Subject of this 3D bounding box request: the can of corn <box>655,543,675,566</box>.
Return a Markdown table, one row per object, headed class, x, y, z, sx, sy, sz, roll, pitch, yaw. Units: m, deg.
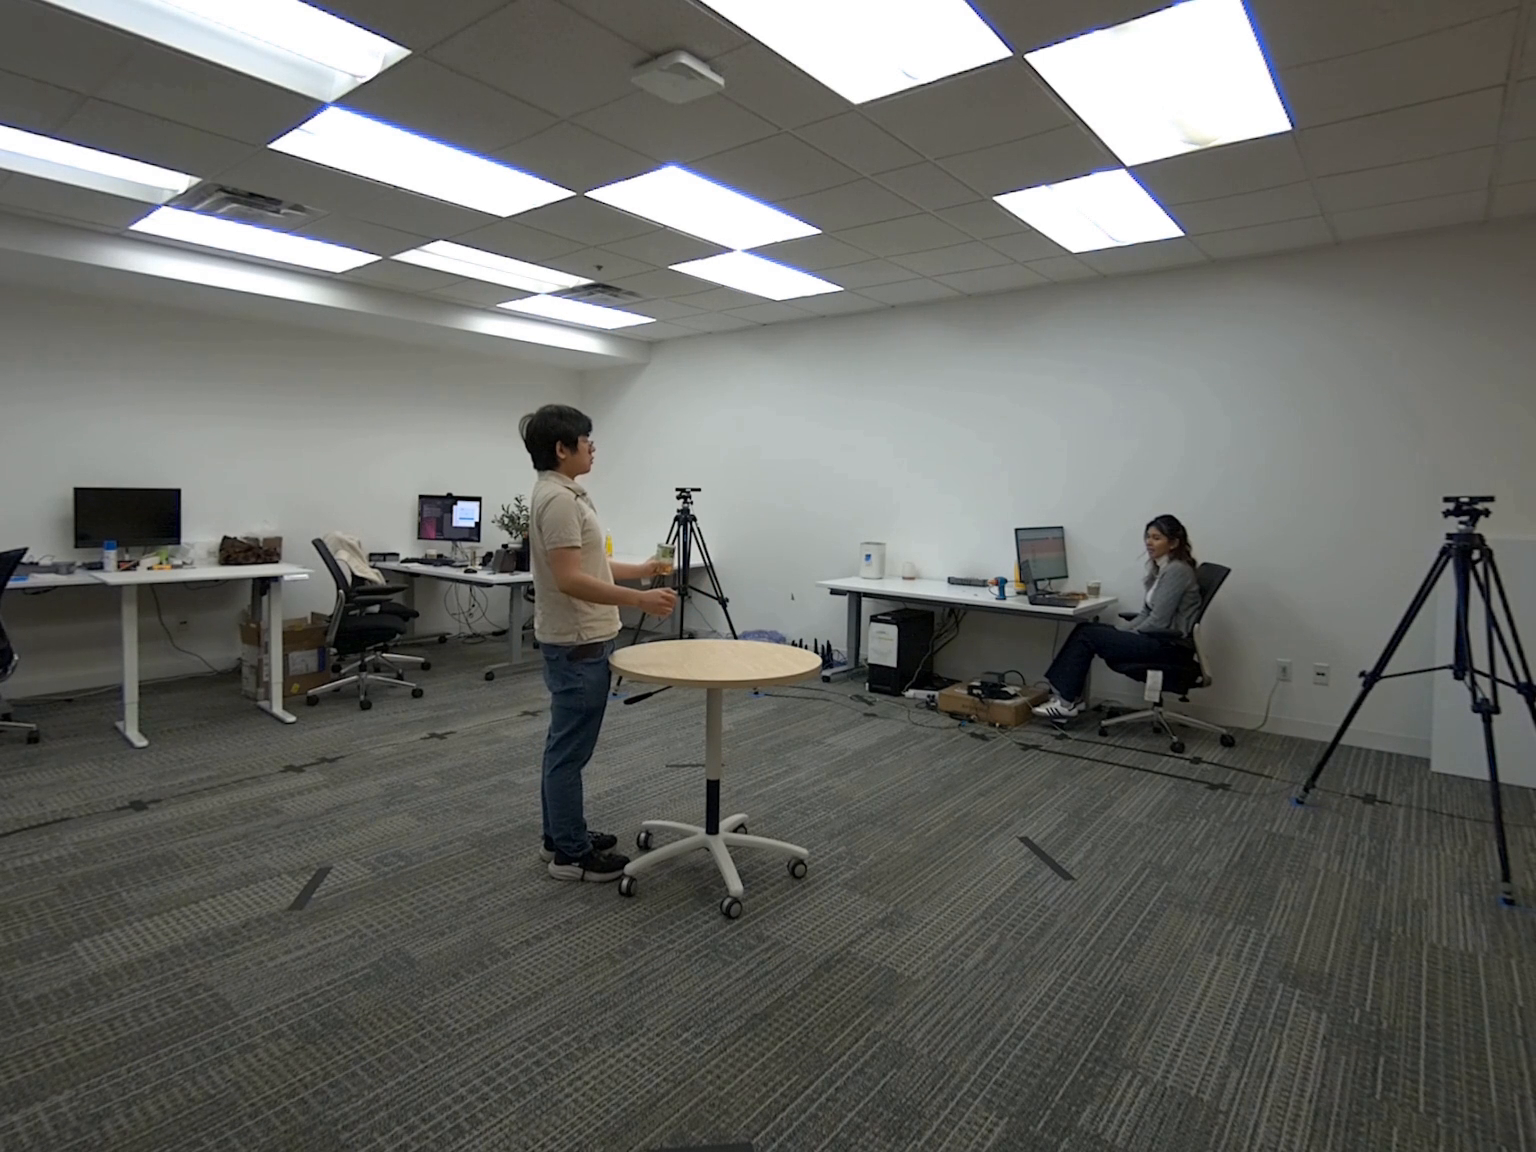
| class | x | y | z | sx | sy | sz | roll | pitch | yaw |
| --- | --- | --- | --- | --- | --- | --- | --- | --- | --- |
| can of corn | -0.426 | -0.071 | 3.400 | 0.074 | 0.110 | 0.075 | 4 | 6 | -2 |
